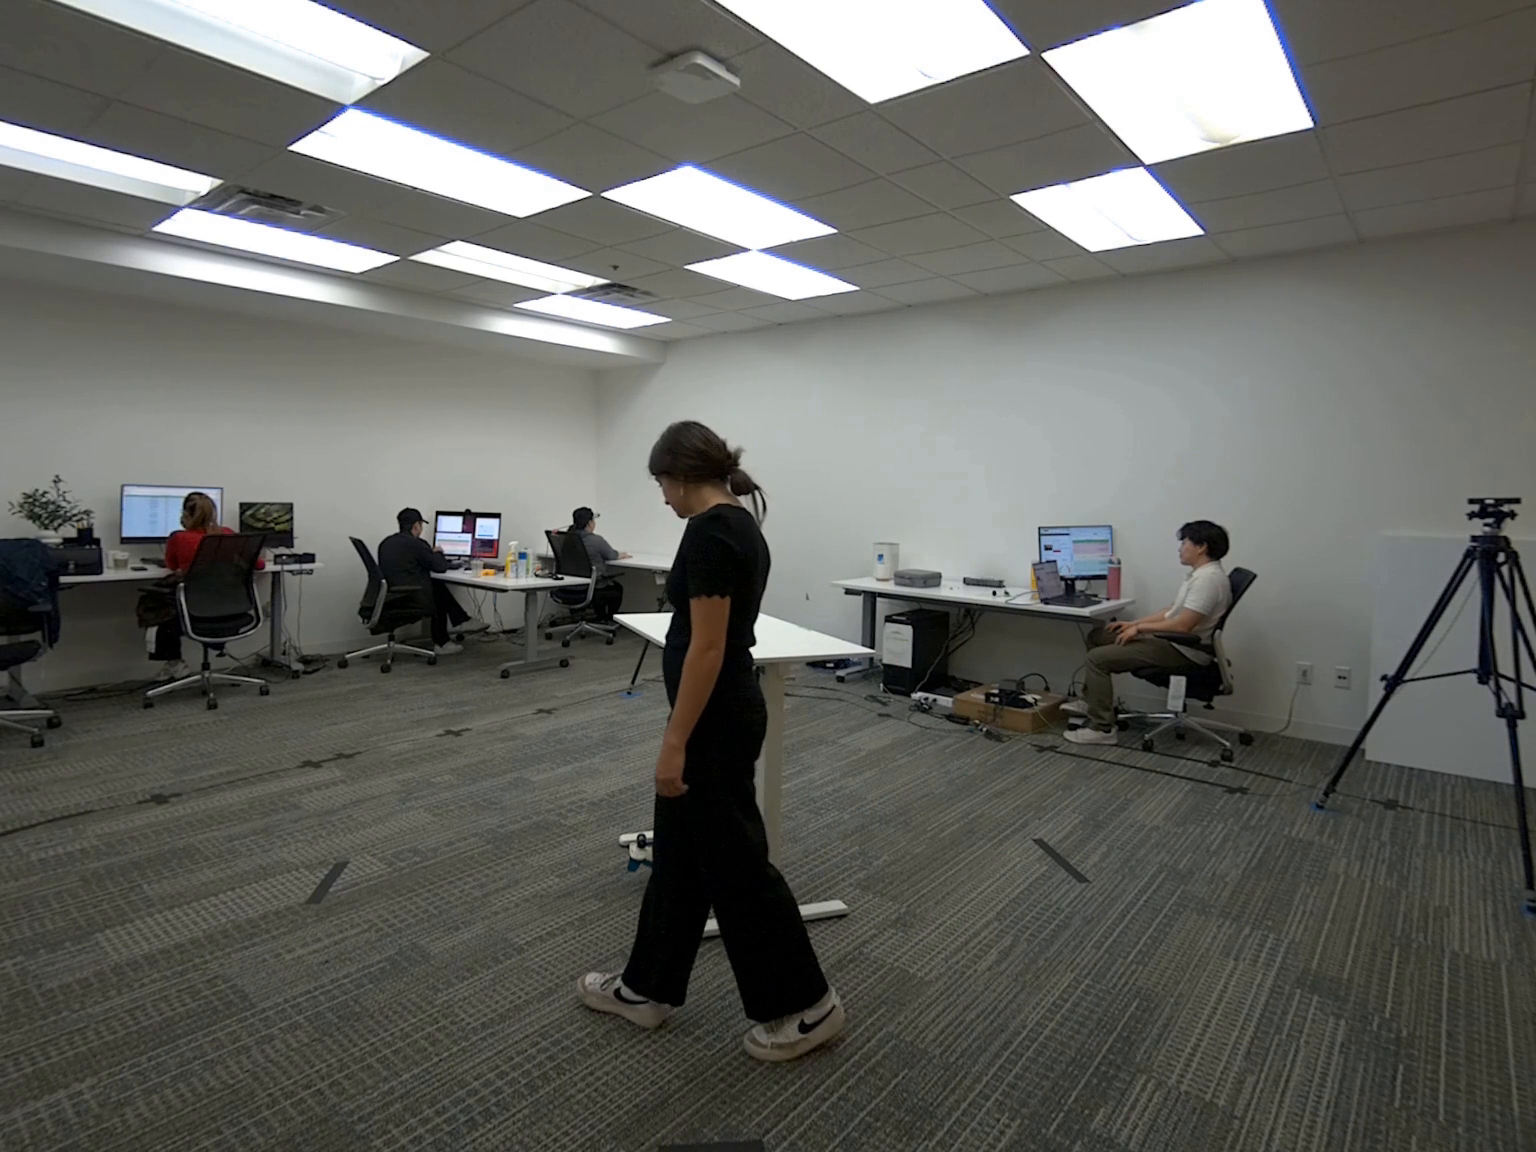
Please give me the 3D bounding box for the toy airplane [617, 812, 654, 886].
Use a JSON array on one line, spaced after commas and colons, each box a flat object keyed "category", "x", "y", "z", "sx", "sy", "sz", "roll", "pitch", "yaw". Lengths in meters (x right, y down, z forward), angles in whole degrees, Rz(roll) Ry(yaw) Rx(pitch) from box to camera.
[{"category": "toy airplane", "x": -0.362, "y": 0.987, "z": 3.013, "sx": 0.265, "sy": 0.156, "sz": 0.246, "roll": 6, "pitch": 3, "yaw": 19}]
